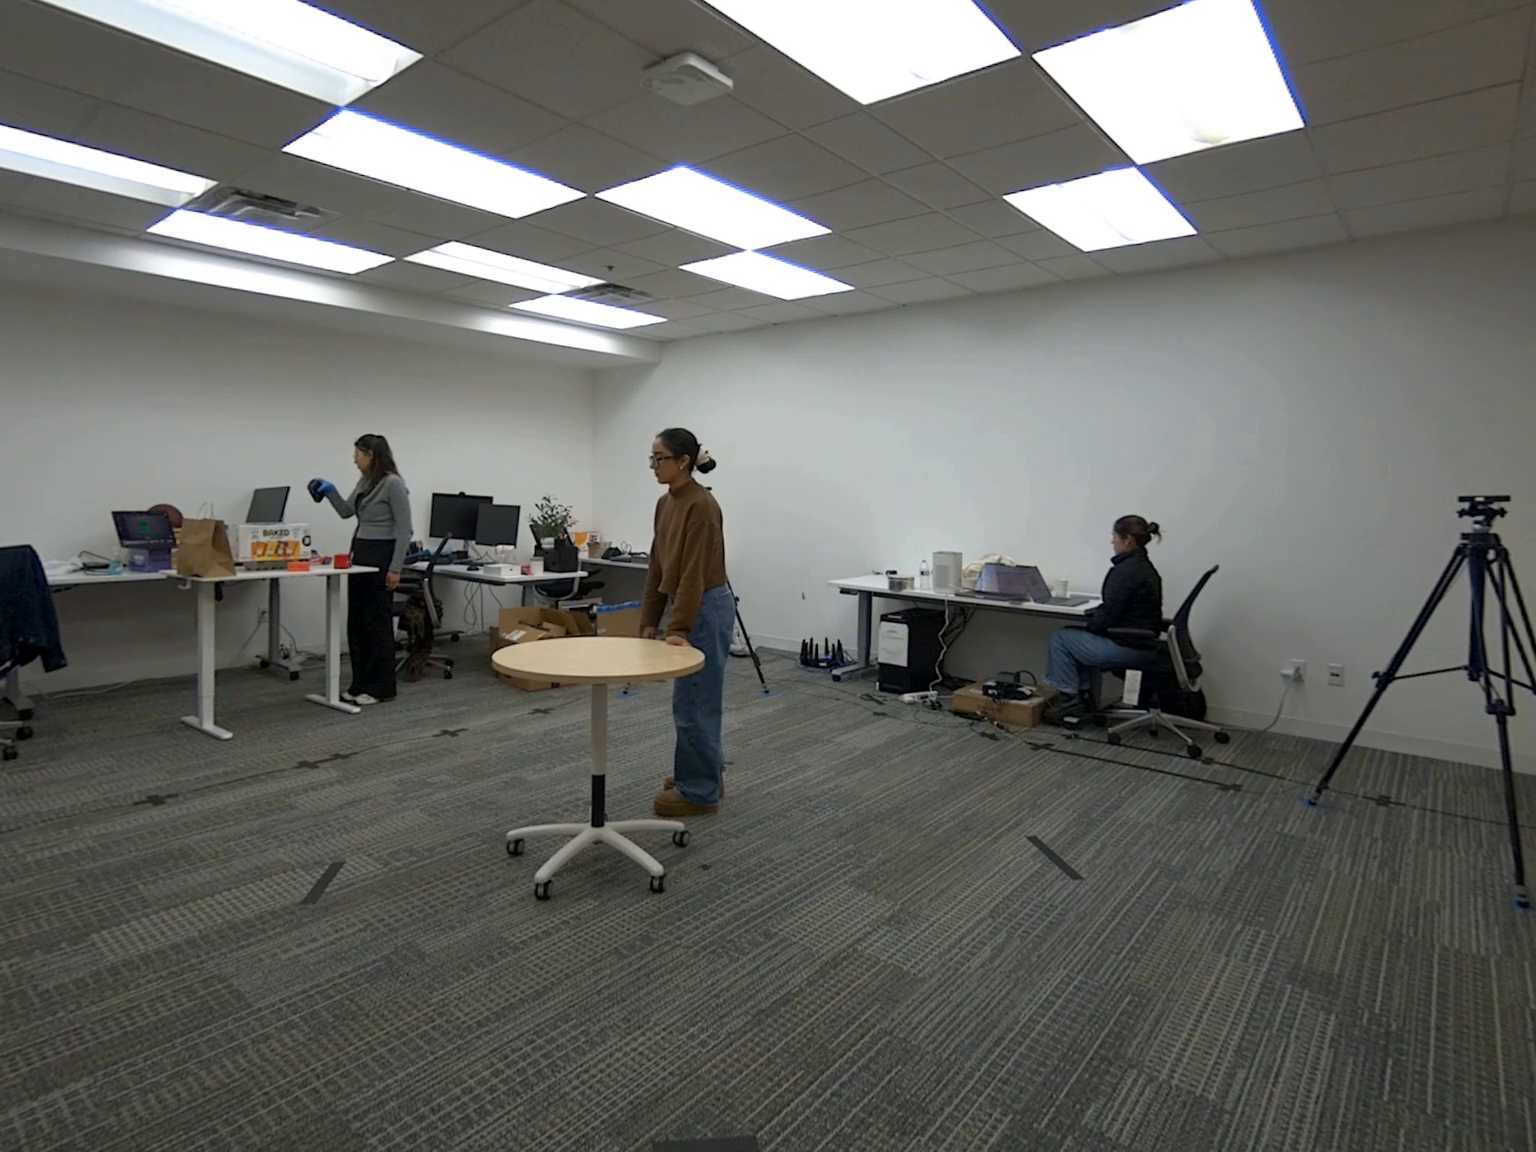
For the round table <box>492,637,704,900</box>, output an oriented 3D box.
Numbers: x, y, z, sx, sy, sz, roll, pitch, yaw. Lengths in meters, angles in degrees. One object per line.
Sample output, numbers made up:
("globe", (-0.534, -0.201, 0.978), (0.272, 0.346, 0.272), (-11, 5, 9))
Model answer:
("round table", (-0.638, 0.672, 3.130), (0.763, 0.791, 0.768), (1, 4, -2))
